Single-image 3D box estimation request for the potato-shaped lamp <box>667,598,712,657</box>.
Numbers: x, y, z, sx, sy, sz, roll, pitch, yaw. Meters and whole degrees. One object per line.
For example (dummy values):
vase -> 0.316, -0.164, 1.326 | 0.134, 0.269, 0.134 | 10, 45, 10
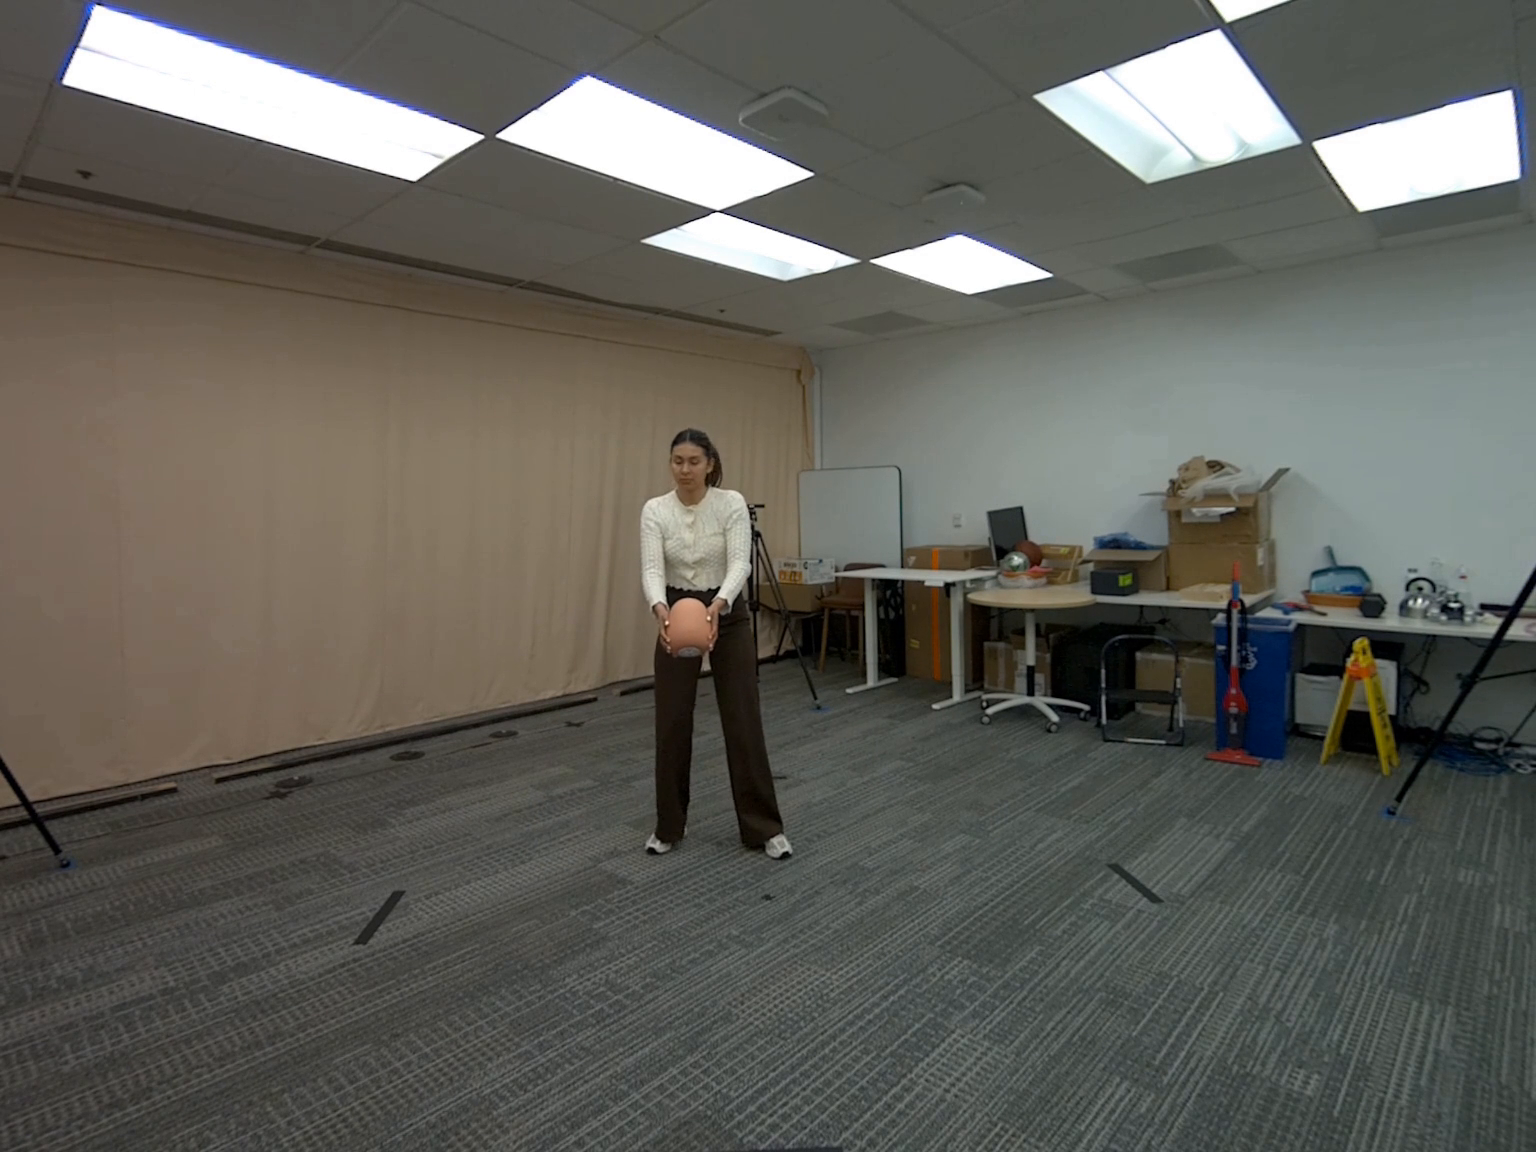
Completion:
potato-shaped lamp -> -0.278, 0.180, 3.016 | 0.163, 0.201, 0.170 | 1, -26, -8
